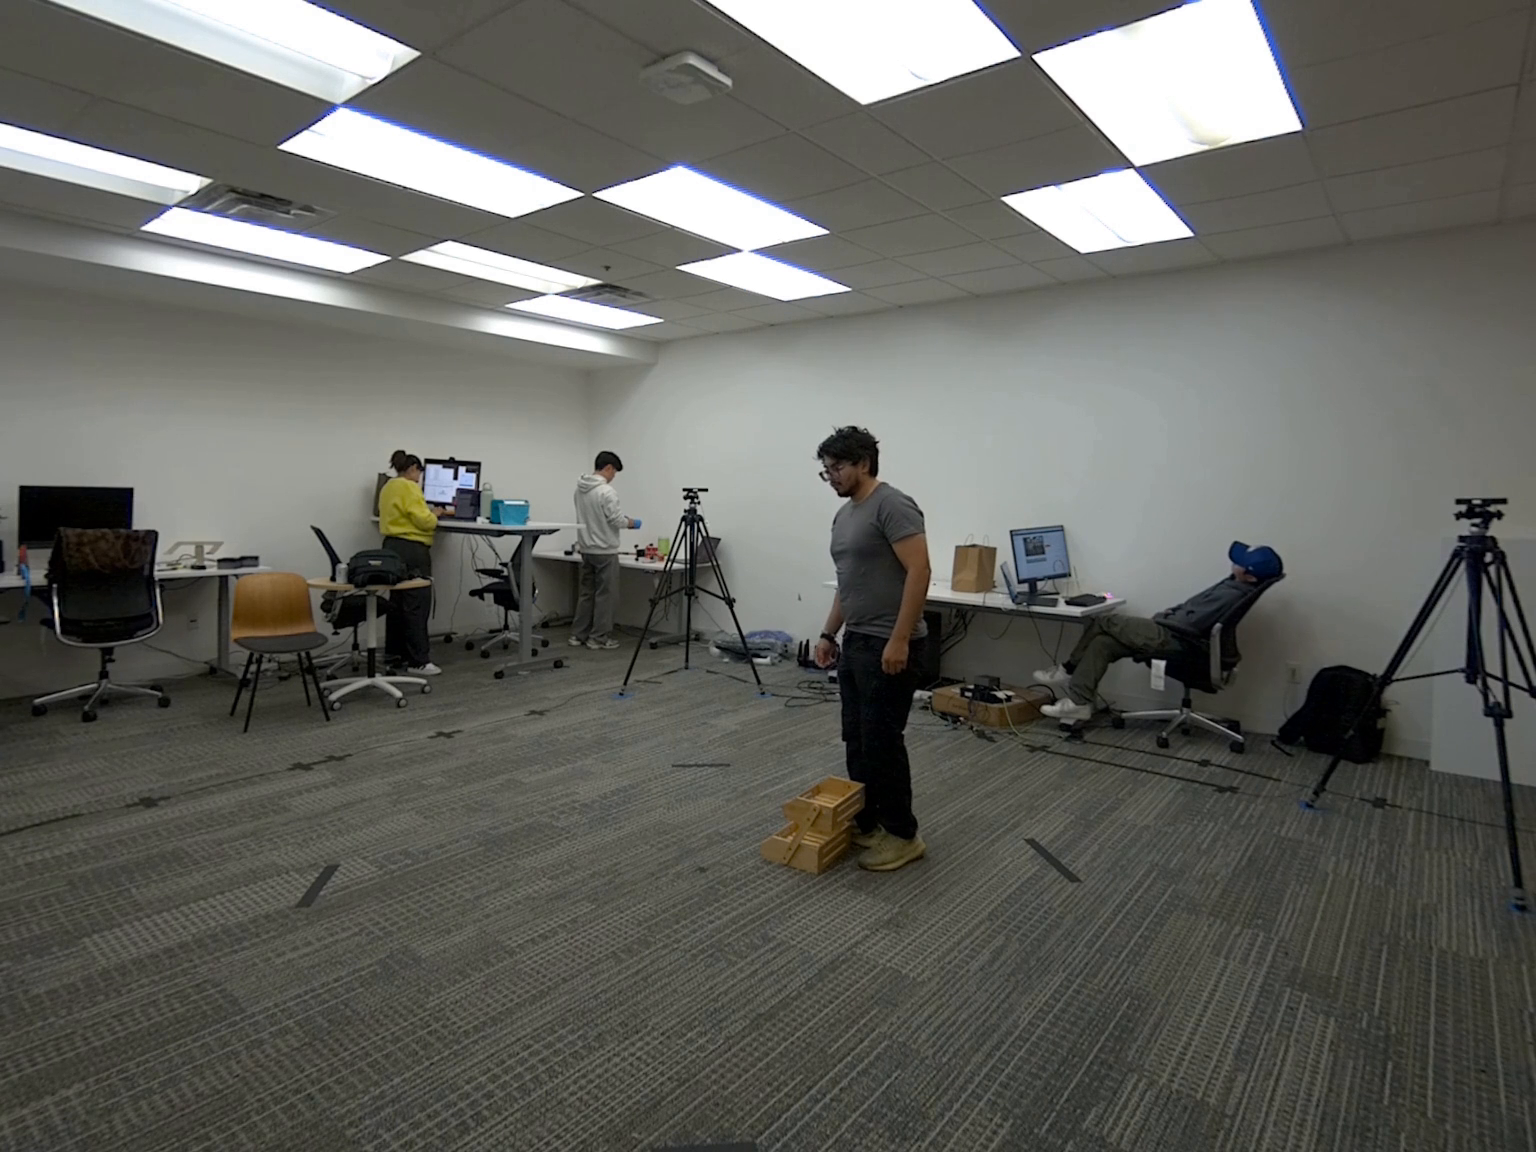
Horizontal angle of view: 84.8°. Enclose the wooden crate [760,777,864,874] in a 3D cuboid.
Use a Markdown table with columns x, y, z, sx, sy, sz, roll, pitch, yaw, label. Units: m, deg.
| x | y | z | sx | sy | sz | roll | pitch | yaw | label |
| --- | --- | --- | --- | --- | --- | --- | --- | --- | --- |
| 0.159 | 0.929 | 3.270 | 0.311 | 0.272 | 0.316 | 5 | 6 | 31 | wooden crate |
